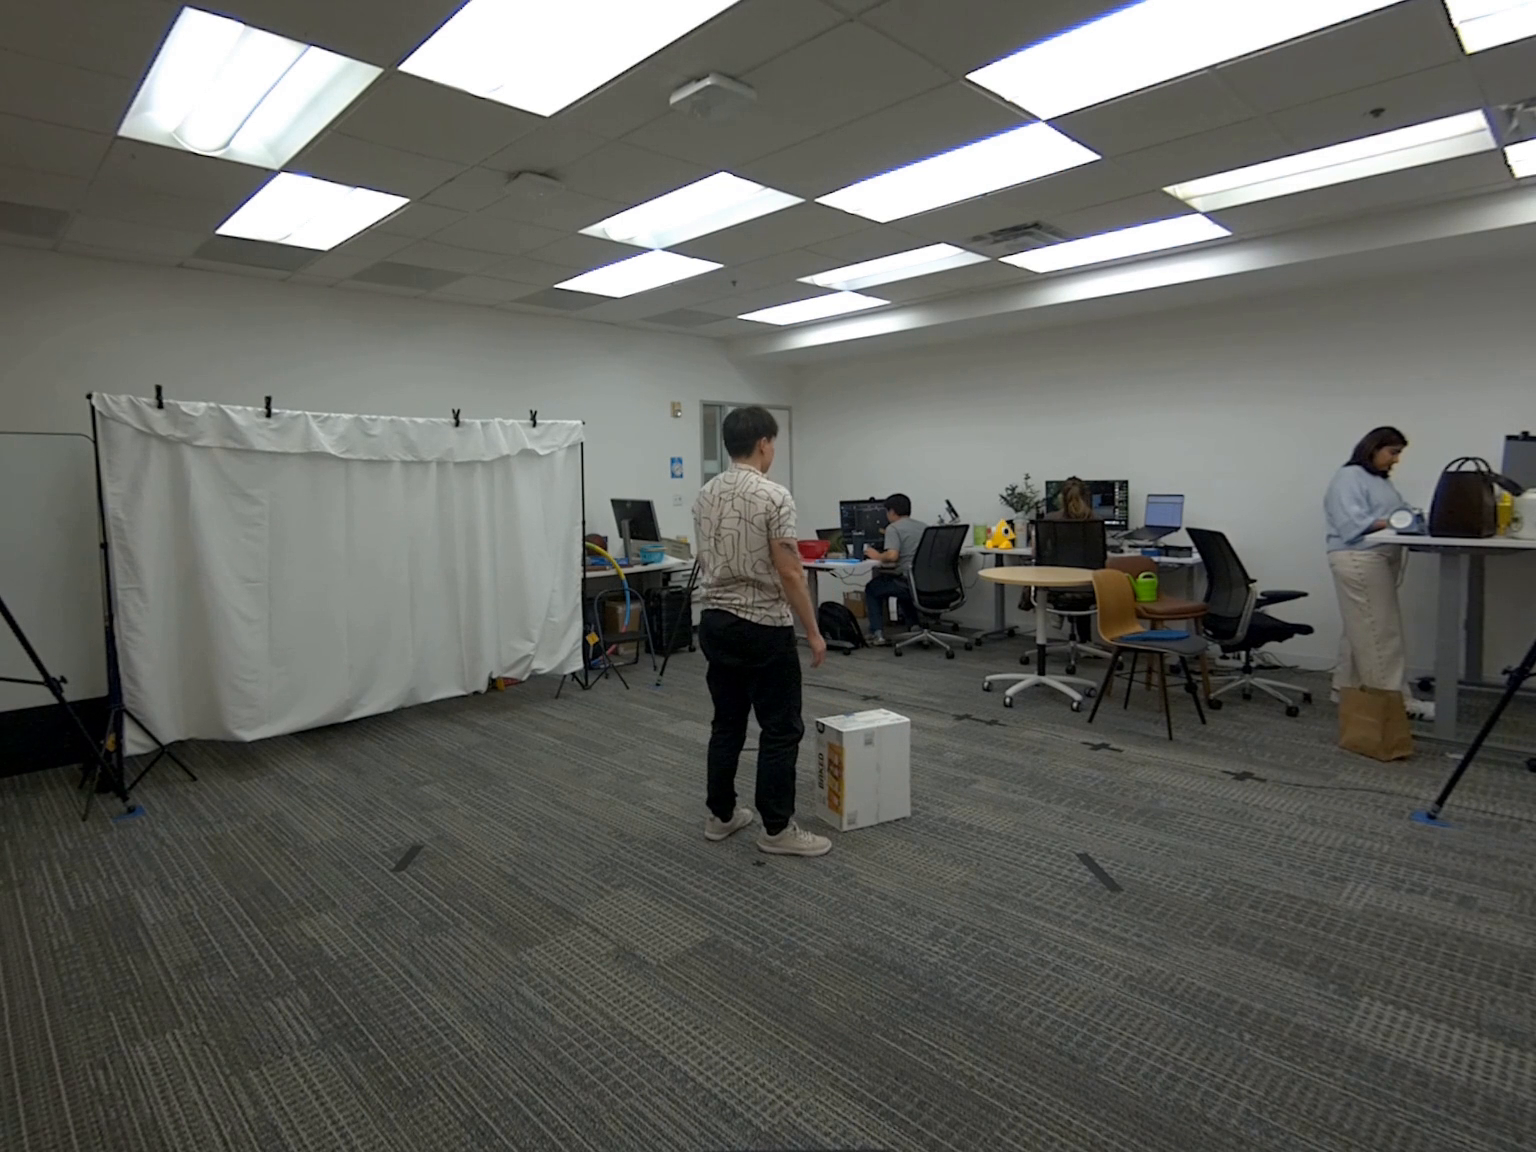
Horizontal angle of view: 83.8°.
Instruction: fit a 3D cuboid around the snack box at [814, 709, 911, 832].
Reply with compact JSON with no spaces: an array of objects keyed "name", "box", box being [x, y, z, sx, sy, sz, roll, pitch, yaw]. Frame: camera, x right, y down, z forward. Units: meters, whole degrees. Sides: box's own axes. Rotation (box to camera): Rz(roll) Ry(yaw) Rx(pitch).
[{"name":"snack box","box":[0.392,0.790,3.524,0.333,0.404,0.211,-3,4,-28]}]
